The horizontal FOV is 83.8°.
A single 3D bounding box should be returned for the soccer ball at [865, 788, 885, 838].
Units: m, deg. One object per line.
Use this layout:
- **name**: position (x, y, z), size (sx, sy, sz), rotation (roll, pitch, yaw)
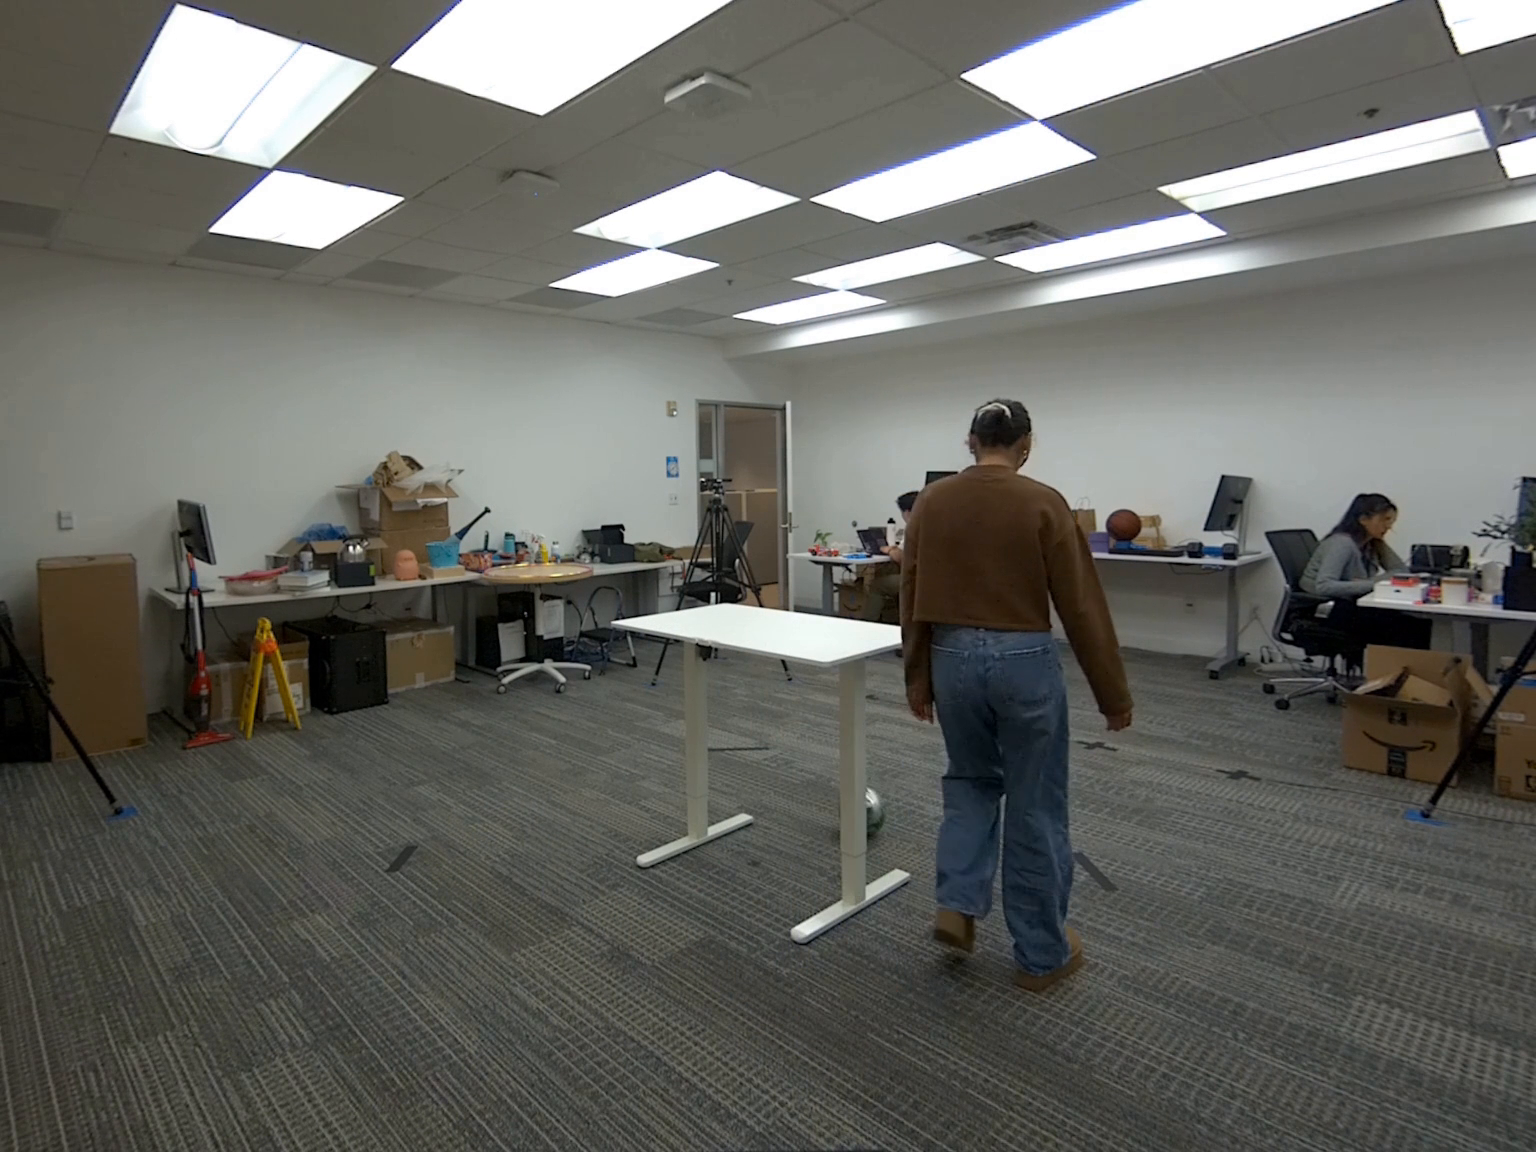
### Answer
- **soccer ball**: position (0.374, 0.916, 3.339), size (0.187, 0.187, 0.188), rotation (-1, 5, -2)
